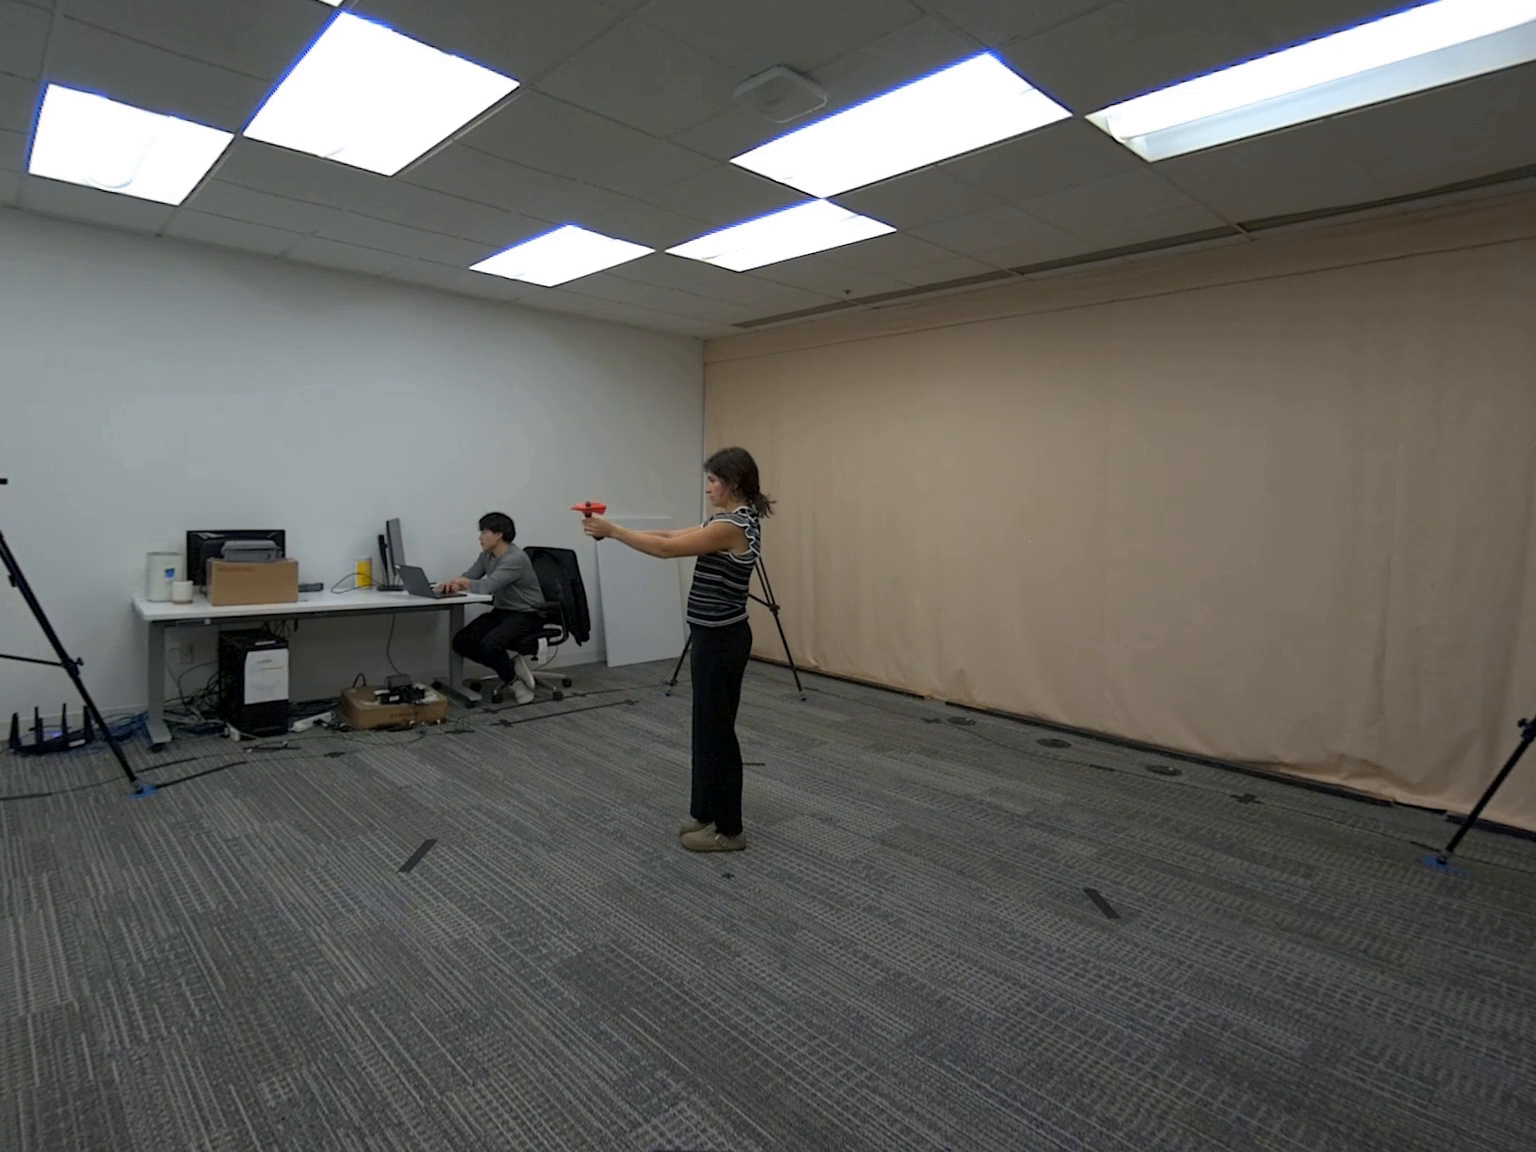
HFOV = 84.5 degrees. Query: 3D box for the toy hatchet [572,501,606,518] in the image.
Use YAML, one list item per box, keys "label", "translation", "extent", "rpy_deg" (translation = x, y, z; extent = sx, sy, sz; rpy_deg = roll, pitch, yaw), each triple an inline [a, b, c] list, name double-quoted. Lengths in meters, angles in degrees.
- label: "toy hatchet"
  translation: [-0.683, -0.225, 3.316]
  extent: [0.132, 0.030, 0.263]
  rpy_deg: [-13, -24, 7]
